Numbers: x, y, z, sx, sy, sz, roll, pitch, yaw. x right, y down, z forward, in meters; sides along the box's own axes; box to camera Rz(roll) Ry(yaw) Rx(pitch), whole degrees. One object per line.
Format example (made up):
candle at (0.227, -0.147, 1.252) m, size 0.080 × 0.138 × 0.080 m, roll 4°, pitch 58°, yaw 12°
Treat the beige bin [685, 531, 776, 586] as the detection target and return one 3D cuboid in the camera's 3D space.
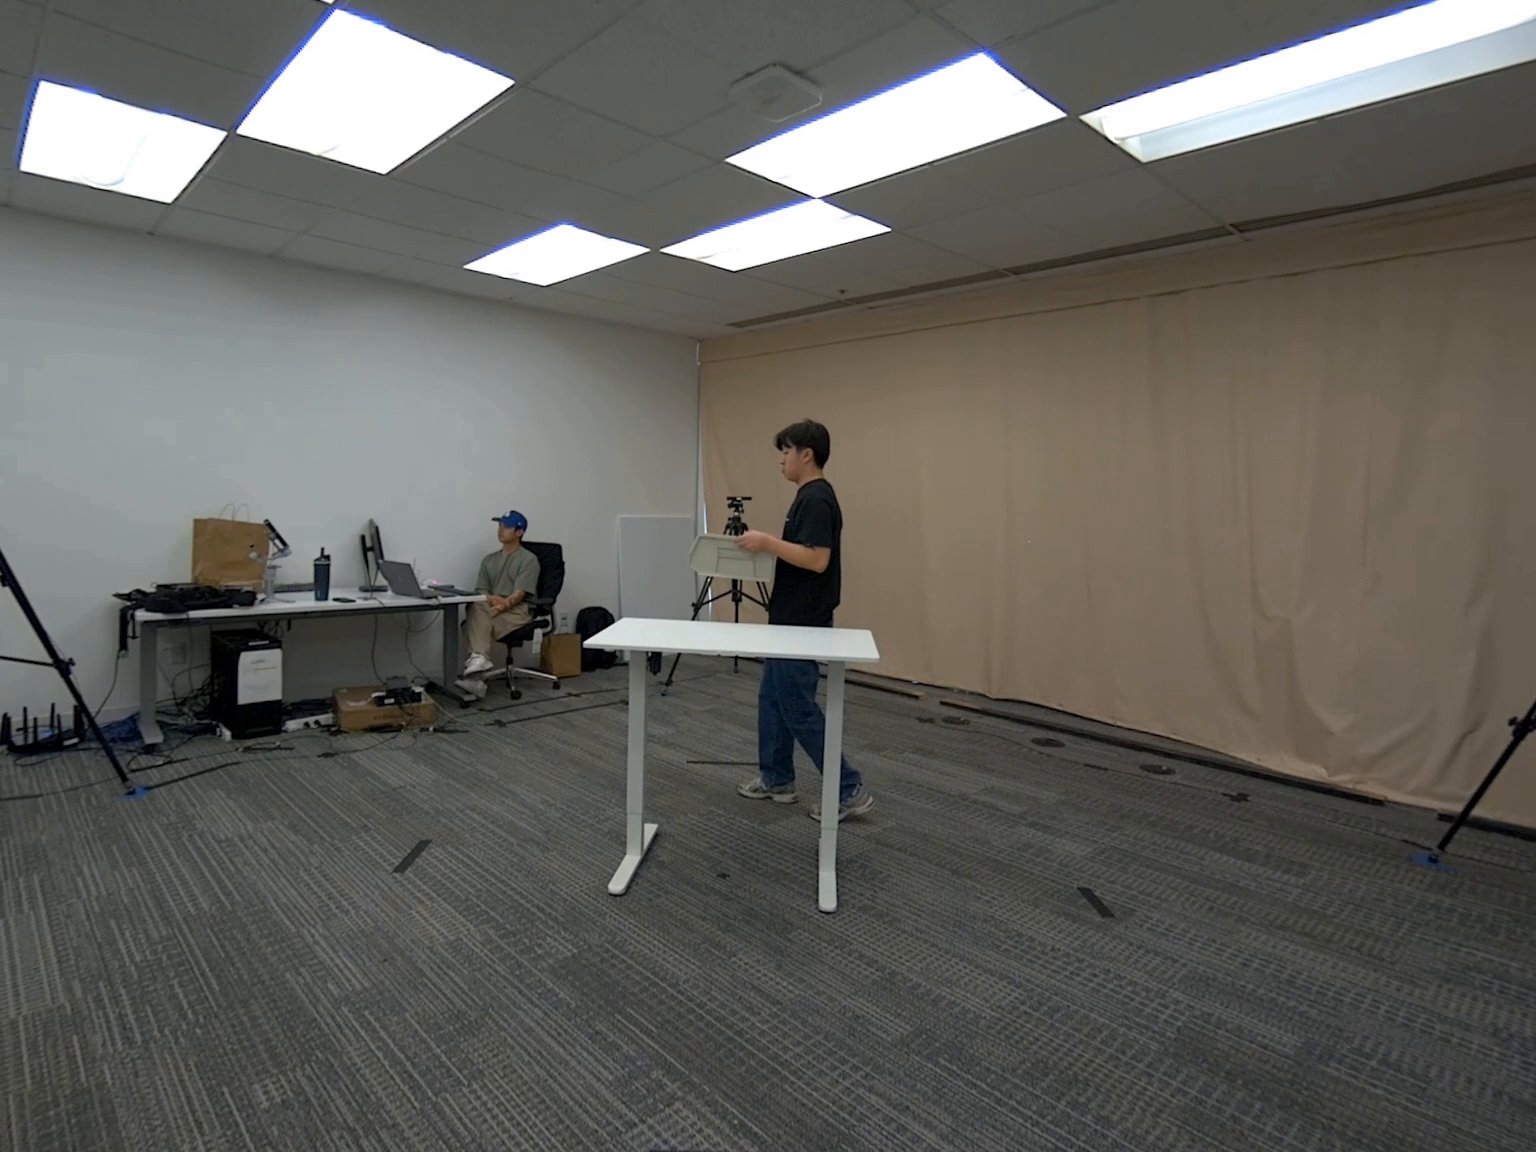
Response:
beige bin at (-0.153, -0.085, 3.790) m, size 0.378 × 0.189 × 0.422 m, roll 6°, pitch 2°, yaw 1°
